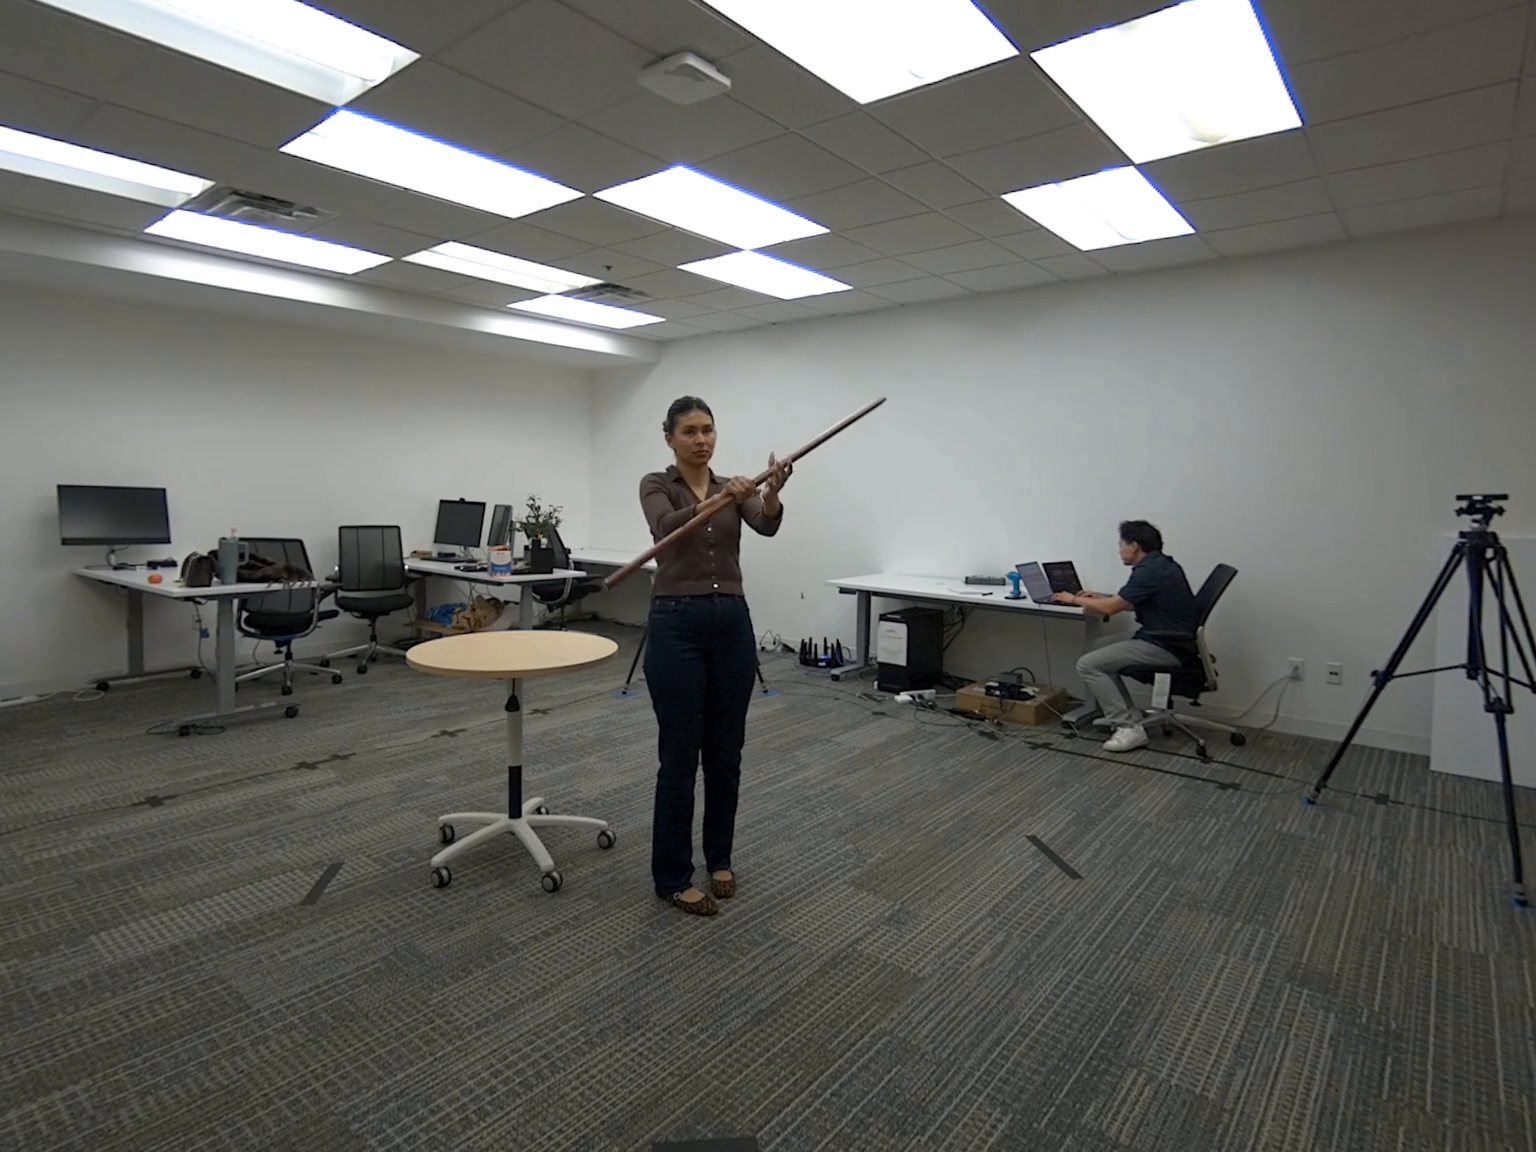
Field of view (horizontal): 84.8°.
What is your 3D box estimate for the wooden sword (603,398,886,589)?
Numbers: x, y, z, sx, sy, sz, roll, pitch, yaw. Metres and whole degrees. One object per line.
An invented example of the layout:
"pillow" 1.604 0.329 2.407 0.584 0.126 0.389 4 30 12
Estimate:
"wooden sword" -0.049 -0.256 2.386 1.019 0.023 0.053 -36 32 -19
